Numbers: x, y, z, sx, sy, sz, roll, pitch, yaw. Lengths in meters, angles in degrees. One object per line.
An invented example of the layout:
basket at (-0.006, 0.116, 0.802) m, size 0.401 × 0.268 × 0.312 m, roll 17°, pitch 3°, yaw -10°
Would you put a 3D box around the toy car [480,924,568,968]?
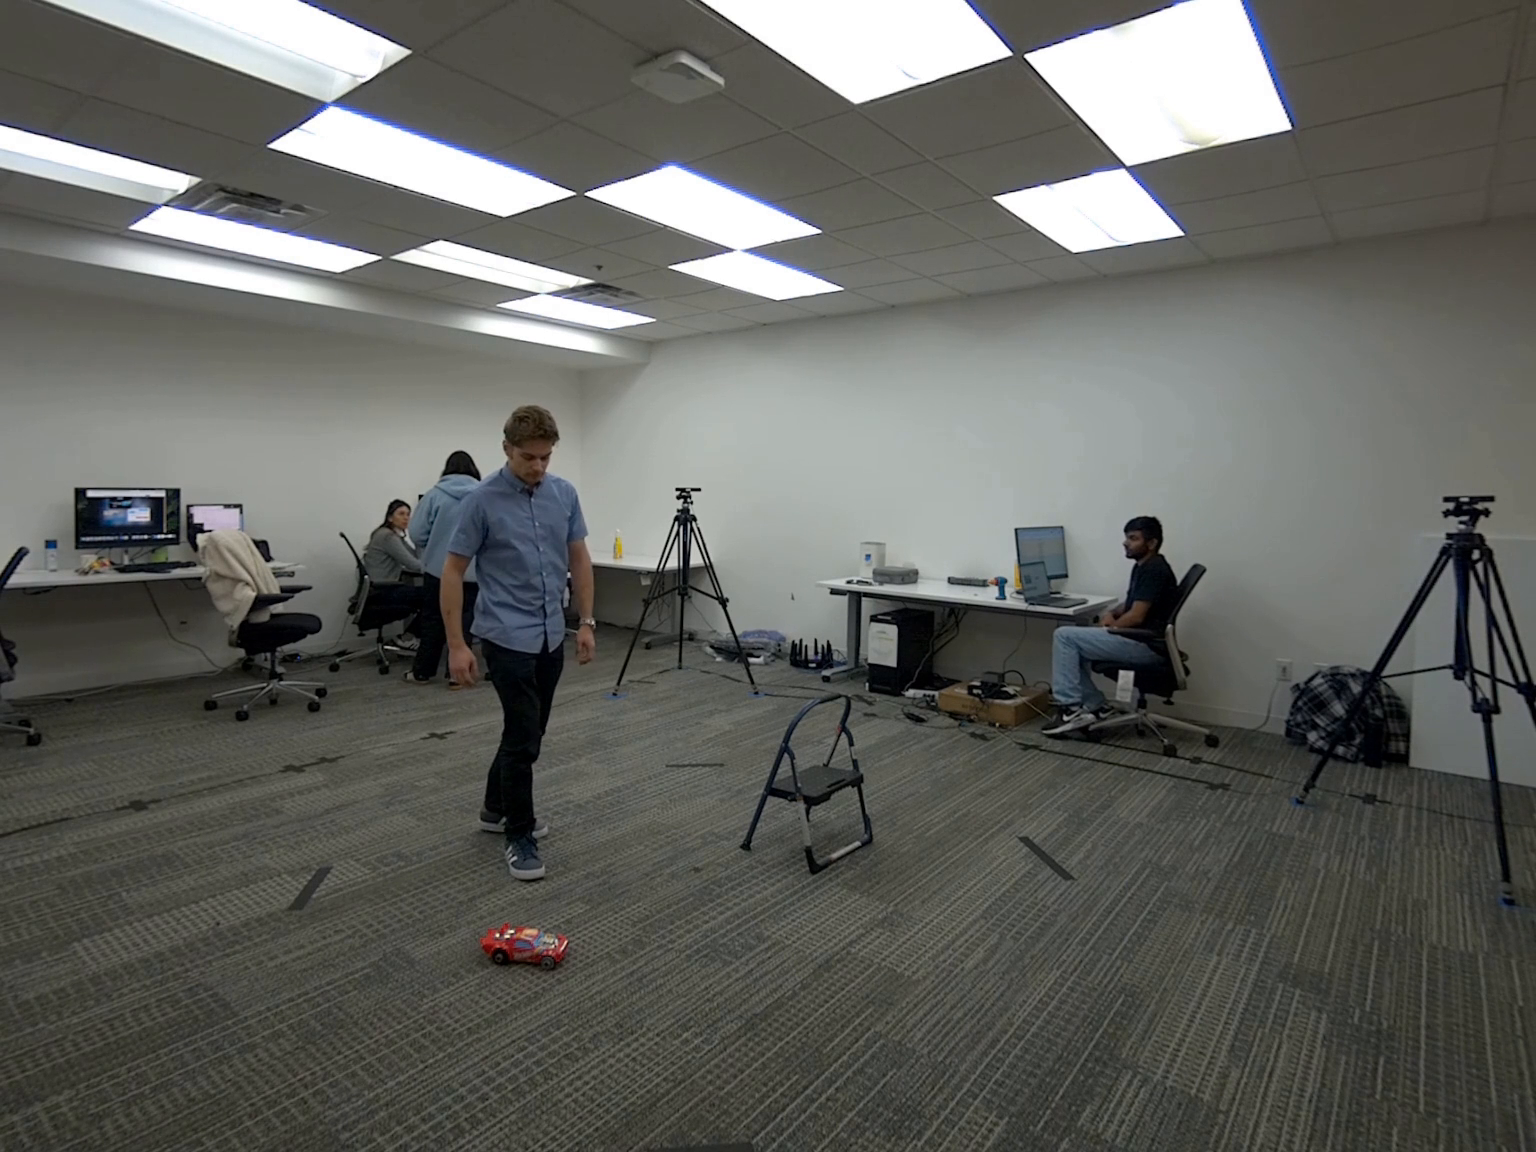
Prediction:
toy car at (-0.732, 1.089, 2.503) m, size 0.257 × 0.083 × 0.129 m, roll 13°, pitch 5°, yaw 7°
